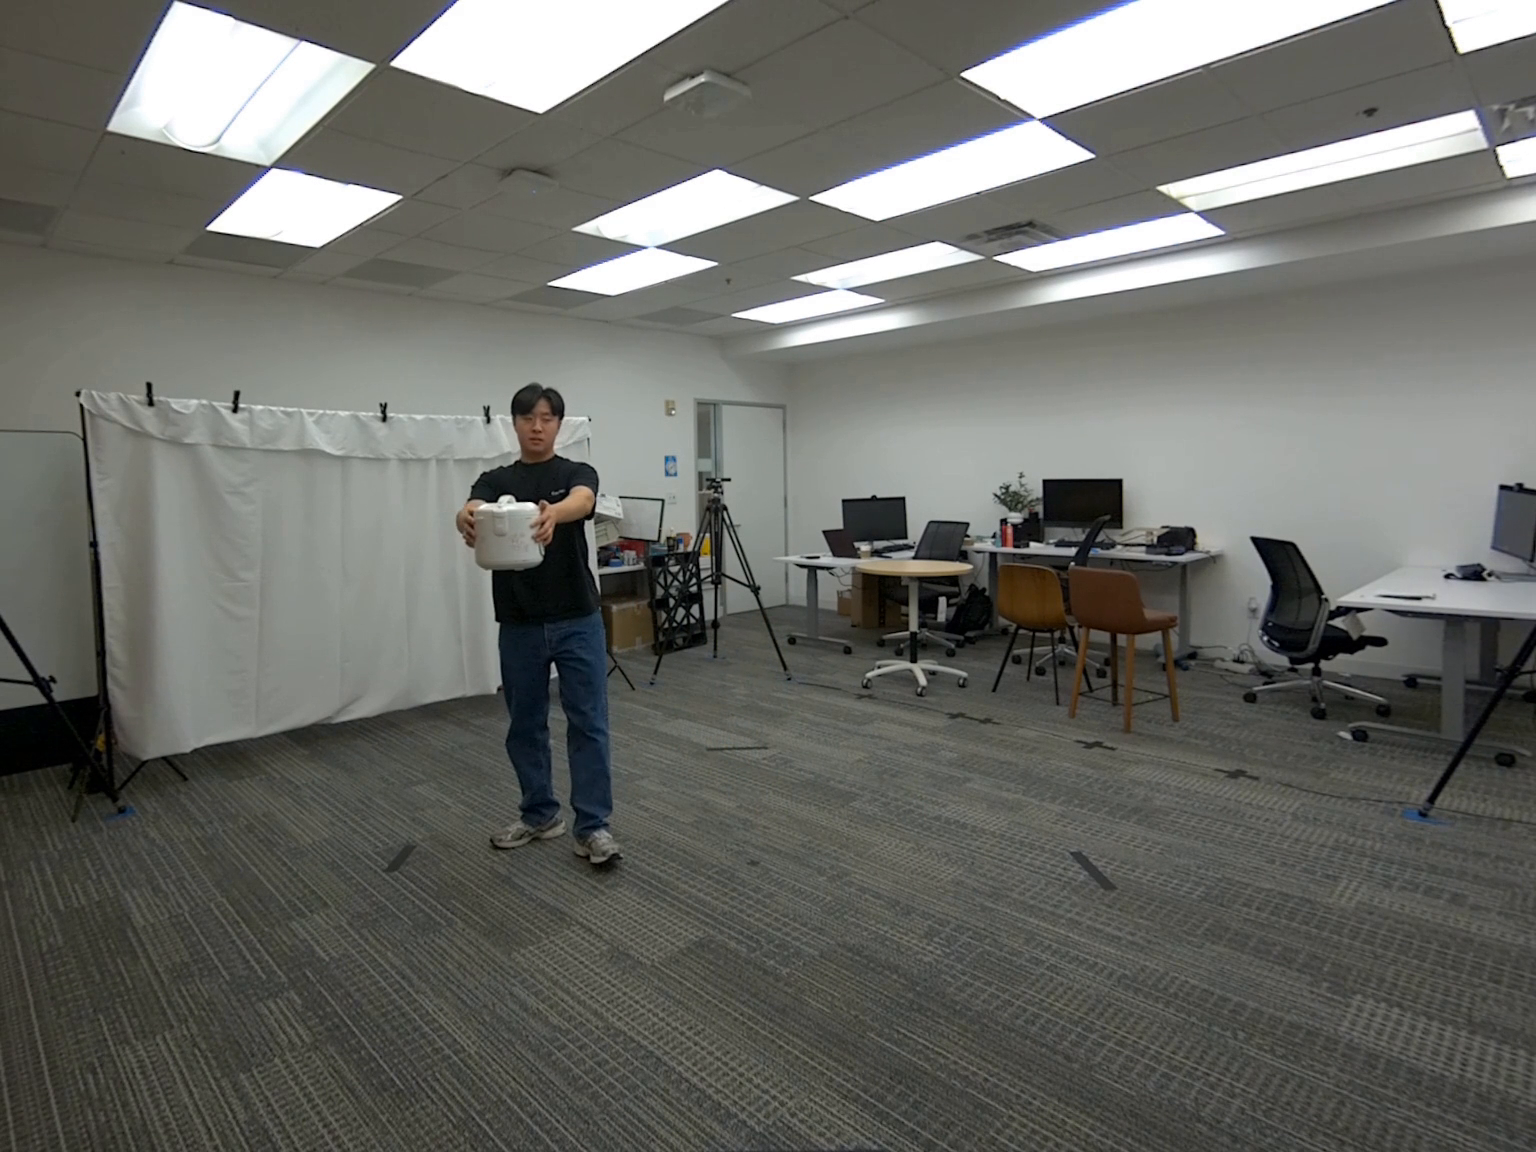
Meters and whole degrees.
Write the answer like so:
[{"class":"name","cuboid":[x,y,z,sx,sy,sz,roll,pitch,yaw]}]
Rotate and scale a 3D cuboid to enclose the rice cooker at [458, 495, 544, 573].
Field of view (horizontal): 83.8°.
[{"class":"rice cooker","cuboid":[-0.840,-0.137,2.712,0.217,0.232,0.222,2,4,-4]}]
